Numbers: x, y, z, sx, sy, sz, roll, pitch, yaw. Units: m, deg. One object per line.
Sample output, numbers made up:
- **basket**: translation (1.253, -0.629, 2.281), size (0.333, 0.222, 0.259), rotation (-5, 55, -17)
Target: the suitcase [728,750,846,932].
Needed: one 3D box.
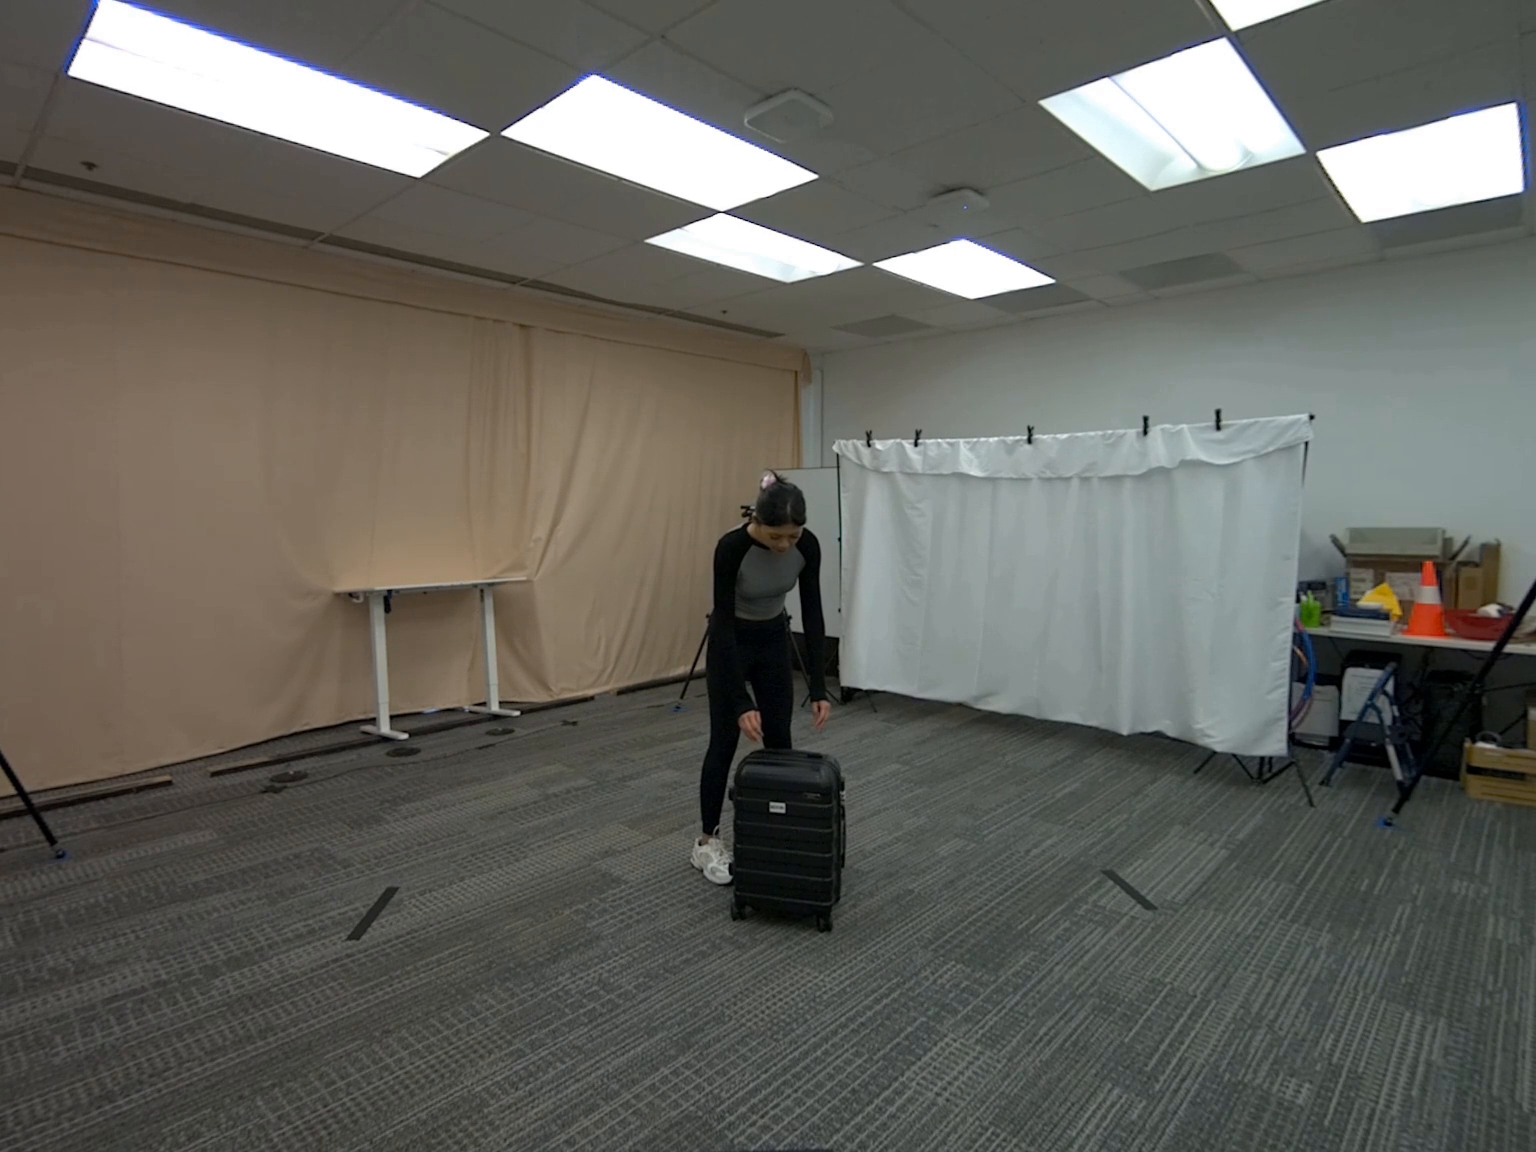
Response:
- **suitcase**: translation (0.076, 0.878, 2.865), size (0.382, 0.548, 0.245), rotation (2, 5, 16)
